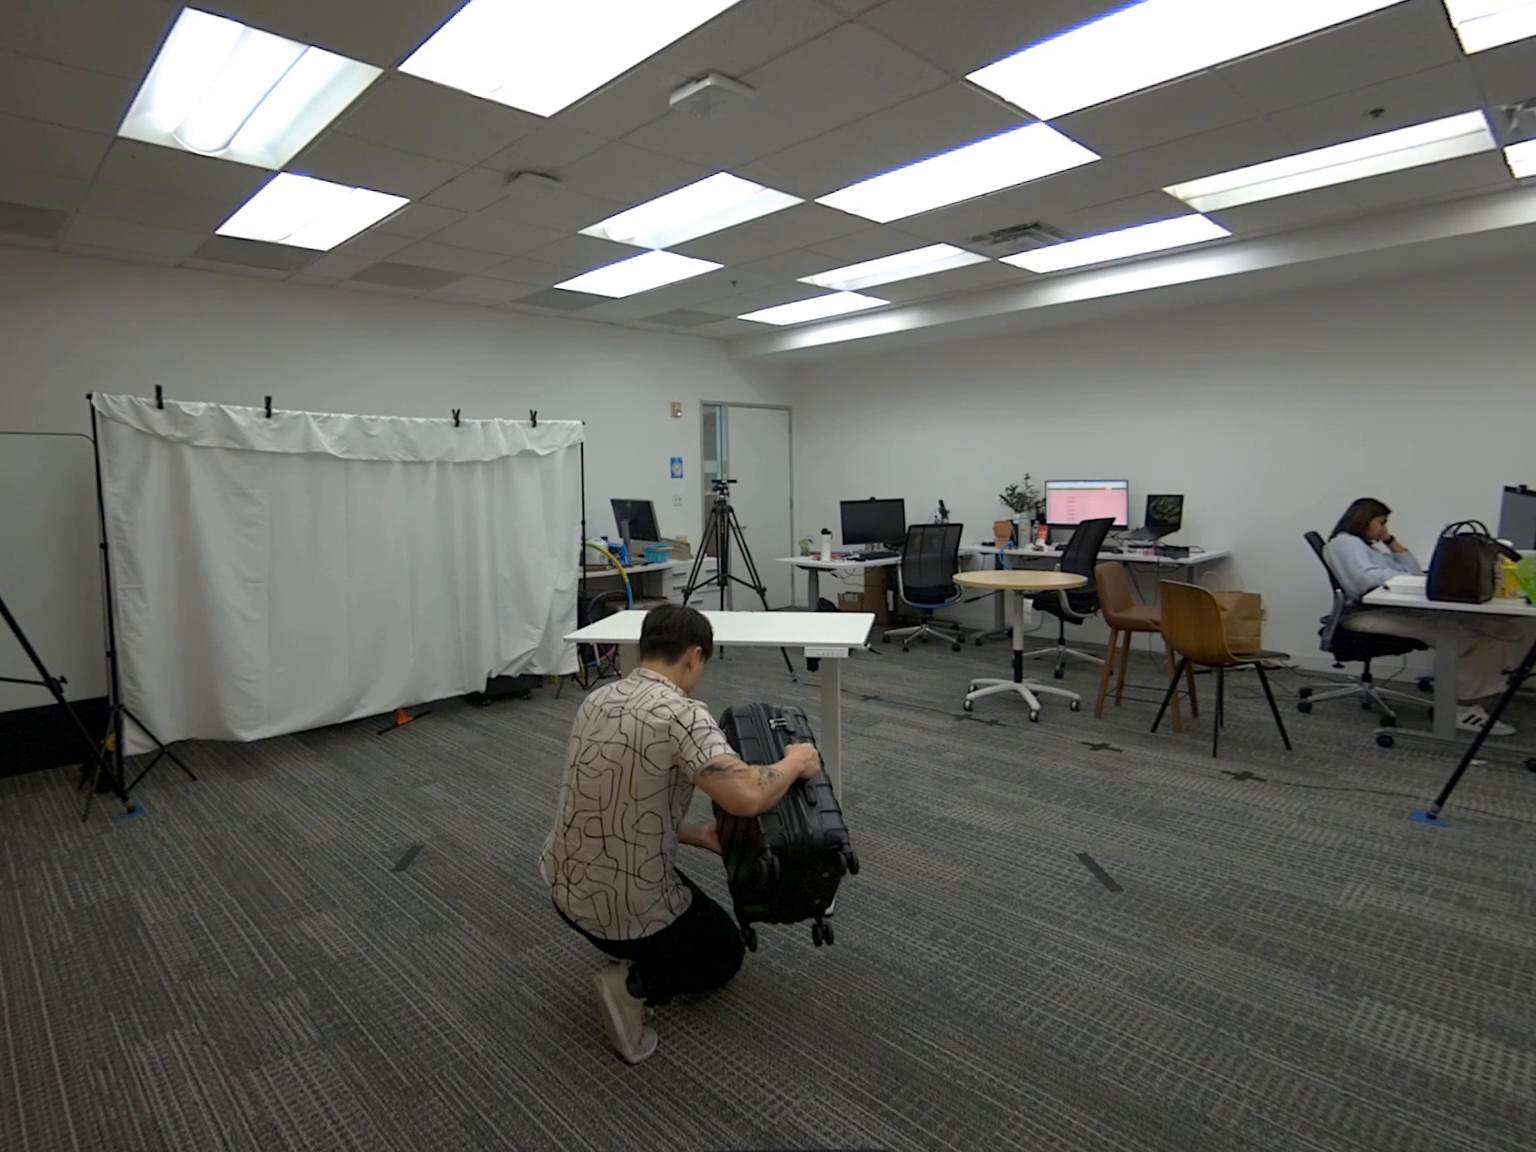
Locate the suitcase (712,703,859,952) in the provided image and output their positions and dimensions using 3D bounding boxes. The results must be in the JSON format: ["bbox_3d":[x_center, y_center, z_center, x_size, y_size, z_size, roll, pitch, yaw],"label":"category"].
[{"bbox_3d":[0.013,0.624,2.266,0.244,0.368,0.568,1,35,-17],"label":"suitcase"}]
